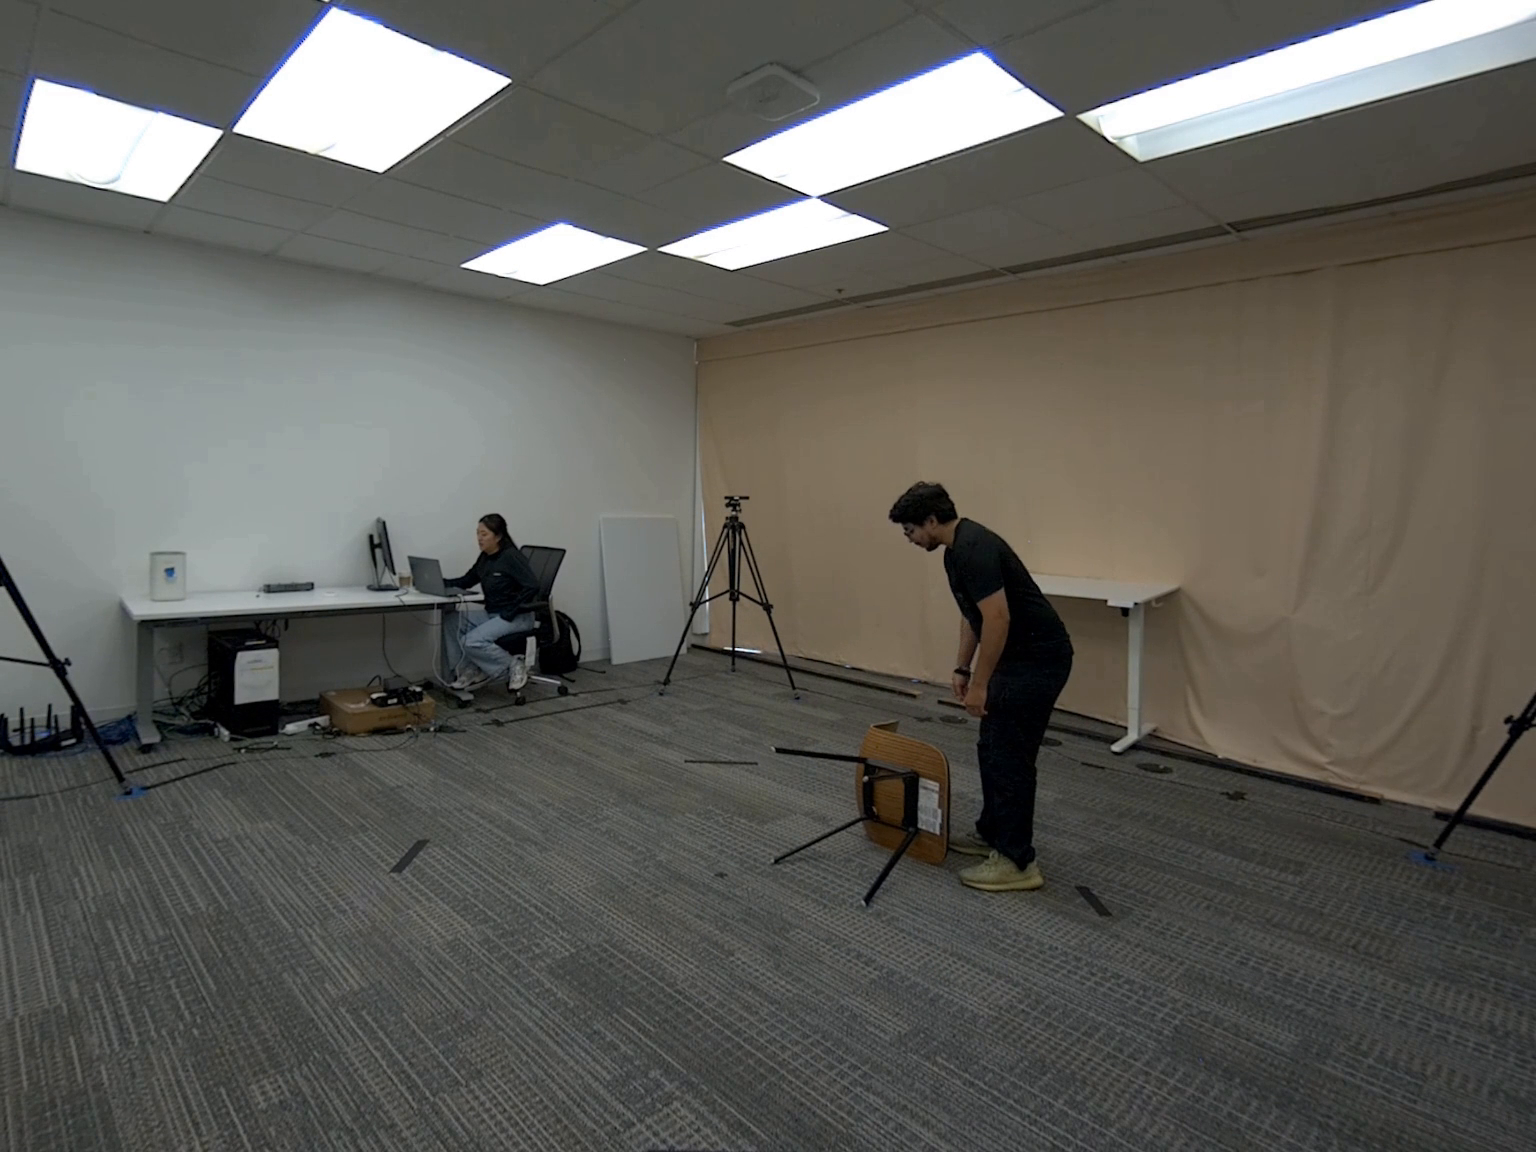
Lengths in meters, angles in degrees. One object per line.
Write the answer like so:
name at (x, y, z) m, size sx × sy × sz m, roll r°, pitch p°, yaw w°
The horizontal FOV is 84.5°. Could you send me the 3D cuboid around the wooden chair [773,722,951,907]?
wooden chair at (0.478, 0.866, 3.316) m, size 0.536 × 0.477 × 0.858 m, roll 4°, pitch 5°, yaw 41°
